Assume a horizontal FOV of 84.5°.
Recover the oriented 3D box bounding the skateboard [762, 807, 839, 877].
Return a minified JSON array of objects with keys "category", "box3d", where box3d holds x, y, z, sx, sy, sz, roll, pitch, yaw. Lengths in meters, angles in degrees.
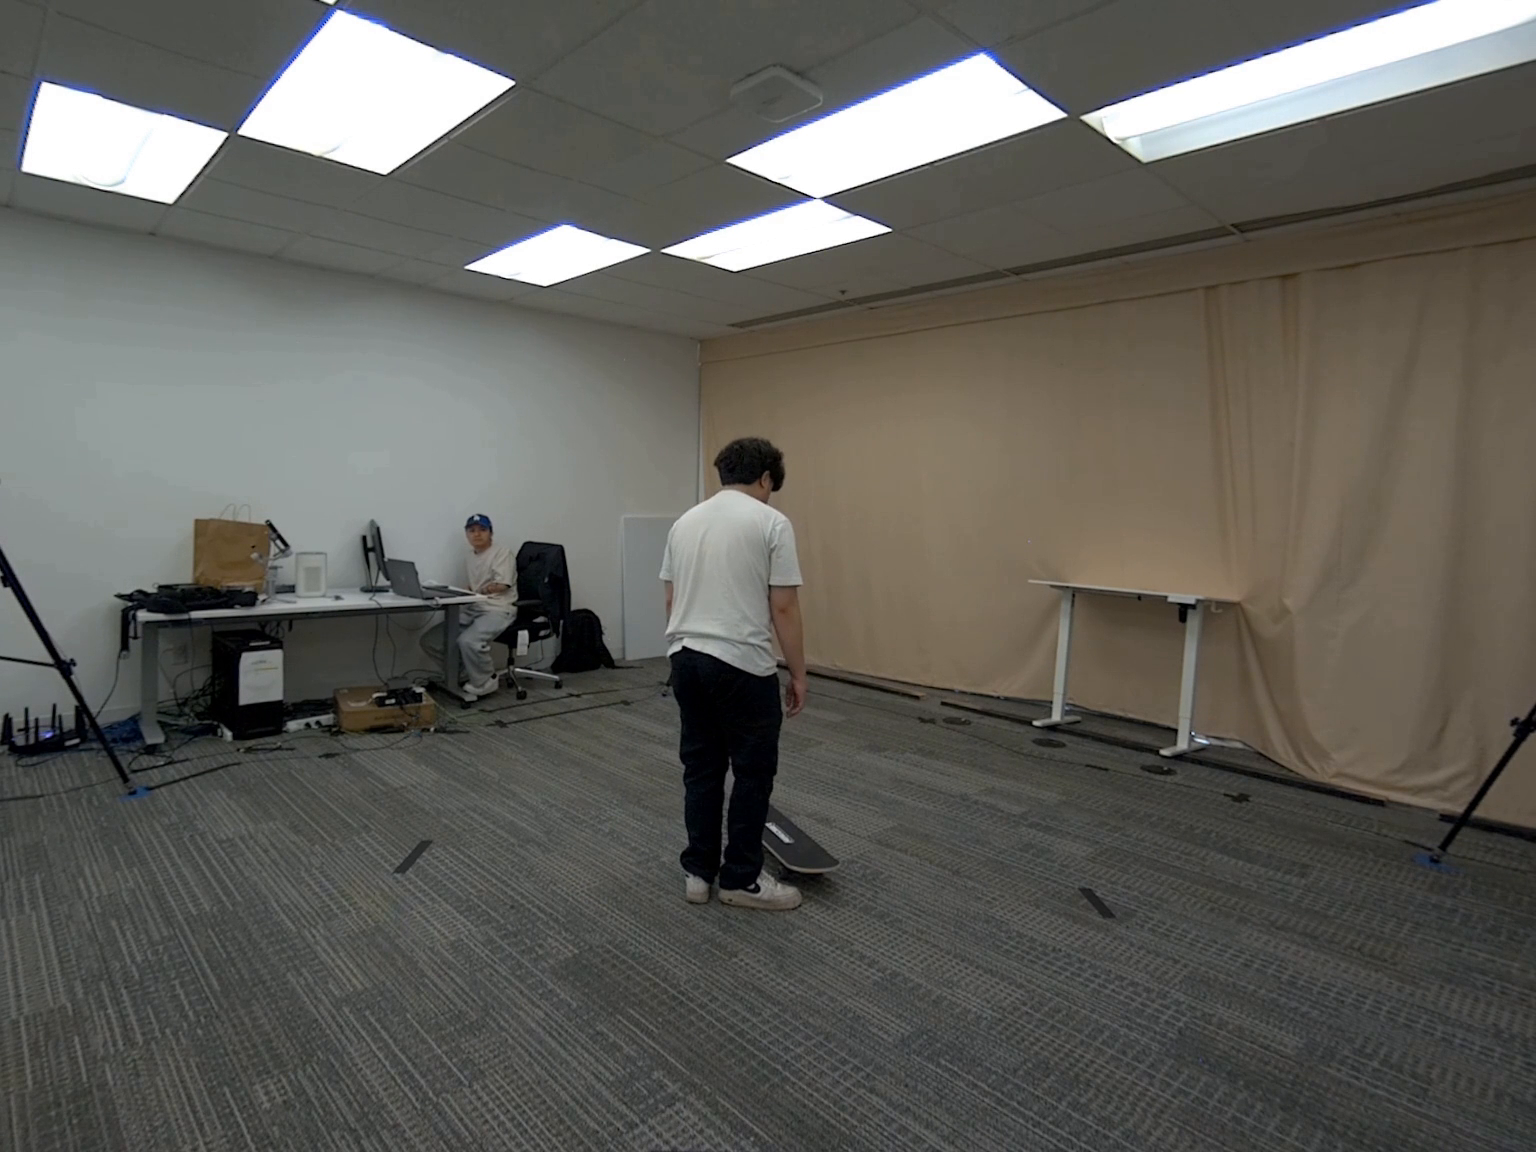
[{"category":"skateboard","box3d":[0.032,1.038,3.304,0.190,0.110,0.800,0,5,-22]}]
